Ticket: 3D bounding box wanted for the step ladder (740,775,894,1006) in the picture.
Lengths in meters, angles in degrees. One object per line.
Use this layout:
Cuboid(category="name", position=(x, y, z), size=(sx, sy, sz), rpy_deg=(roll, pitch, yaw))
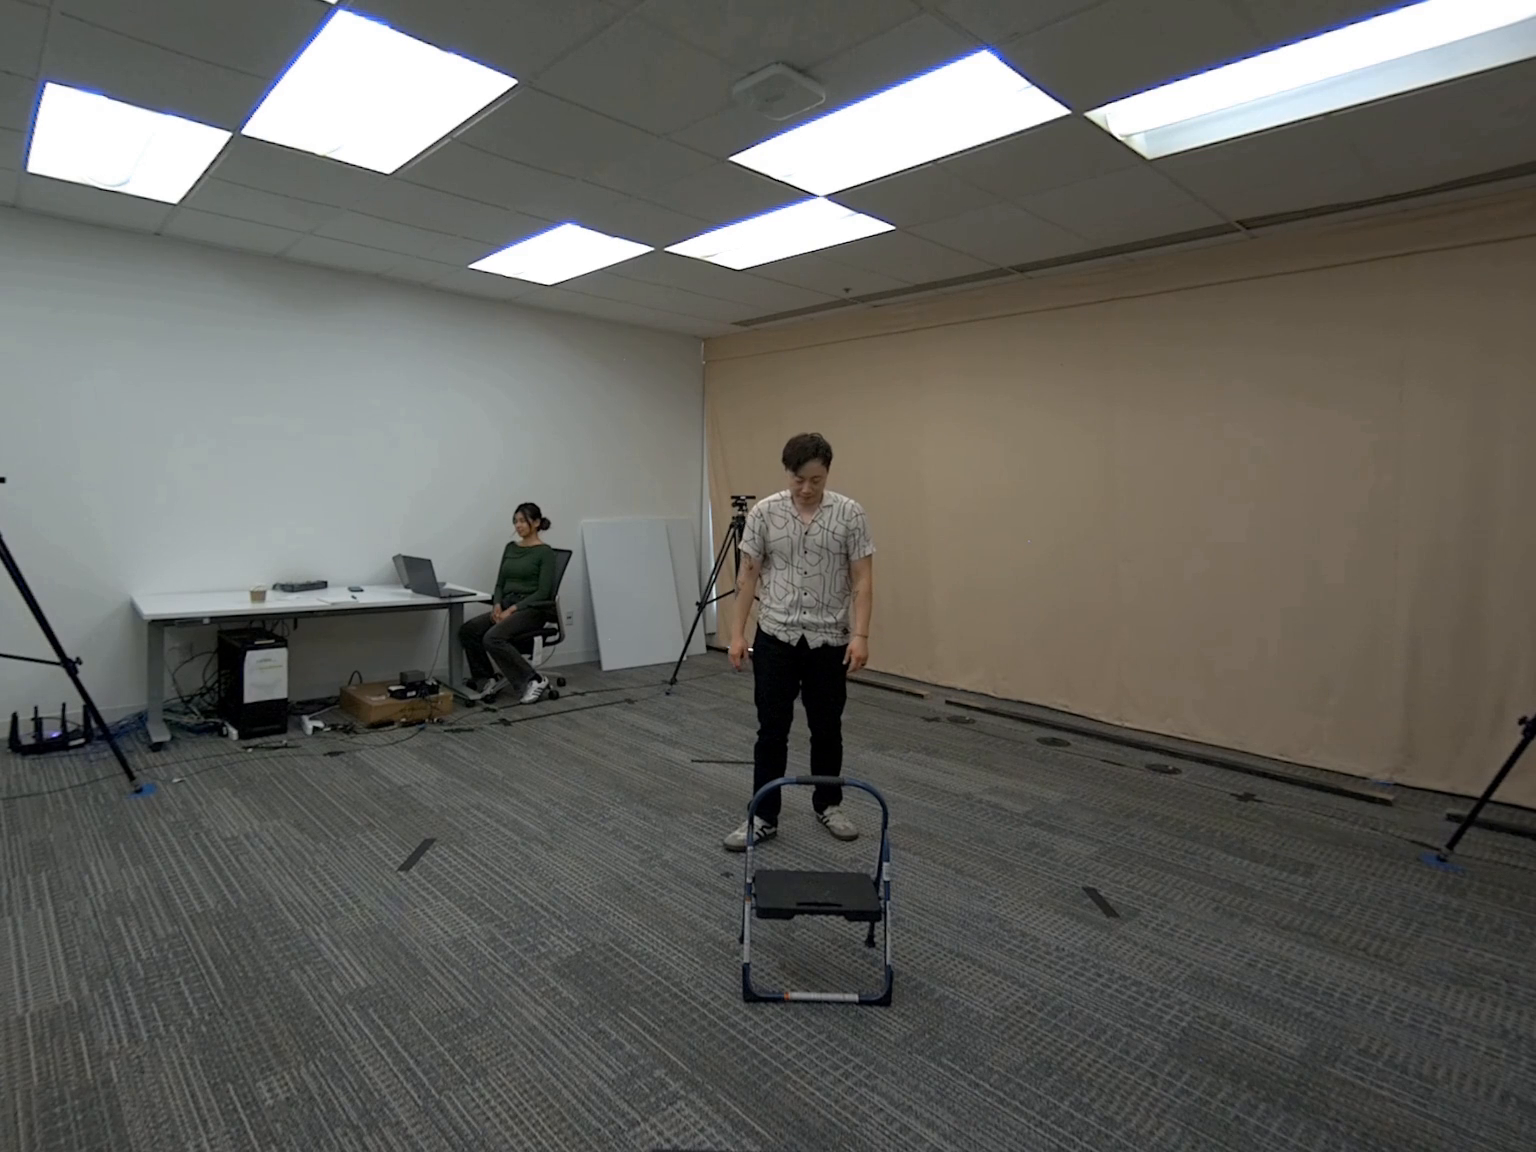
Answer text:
Cuboid(category="step ladder", position=(0.131, 0.867, 2.465), size=(0.430, 0.605, 0.350), rpy_deg=(1, 3, -2))
